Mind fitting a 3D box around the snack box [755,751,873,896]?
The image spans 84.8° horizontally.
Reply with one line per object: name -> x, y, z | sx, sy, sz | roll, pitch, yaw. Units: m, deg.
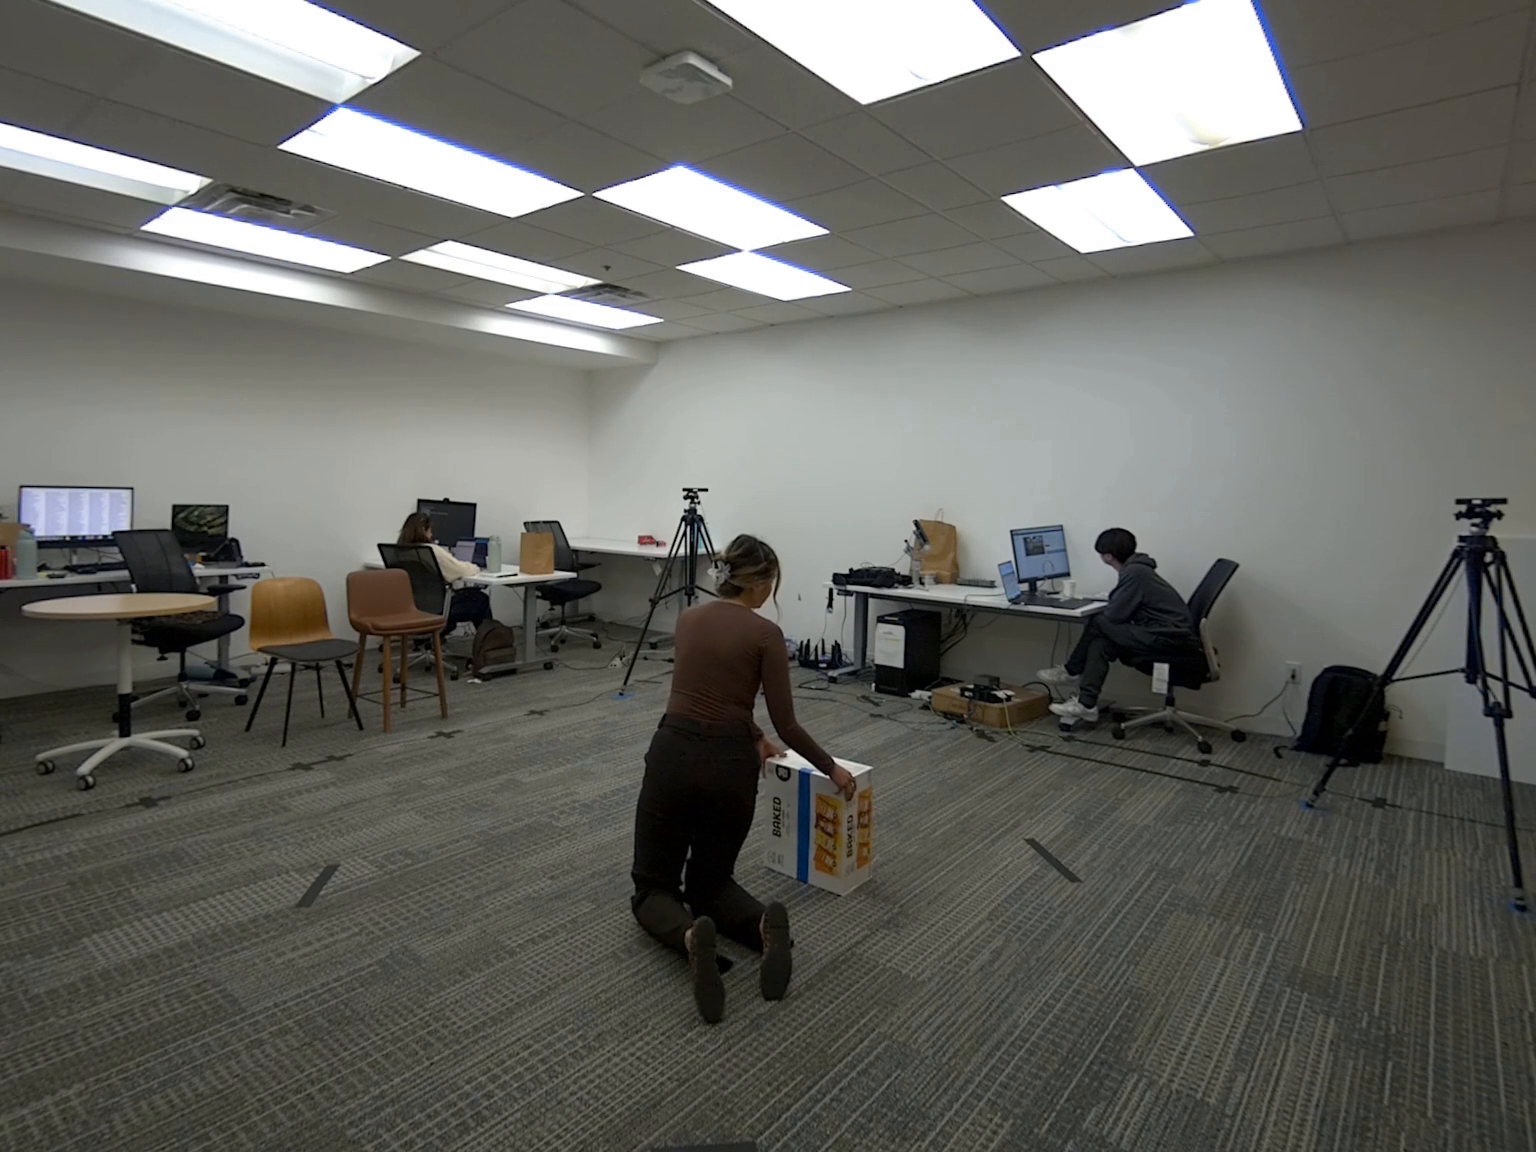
snack box -> 0.176, 0.877, 3.092 | 0.352, 0.404, 0.200 | 4, 5, 39
